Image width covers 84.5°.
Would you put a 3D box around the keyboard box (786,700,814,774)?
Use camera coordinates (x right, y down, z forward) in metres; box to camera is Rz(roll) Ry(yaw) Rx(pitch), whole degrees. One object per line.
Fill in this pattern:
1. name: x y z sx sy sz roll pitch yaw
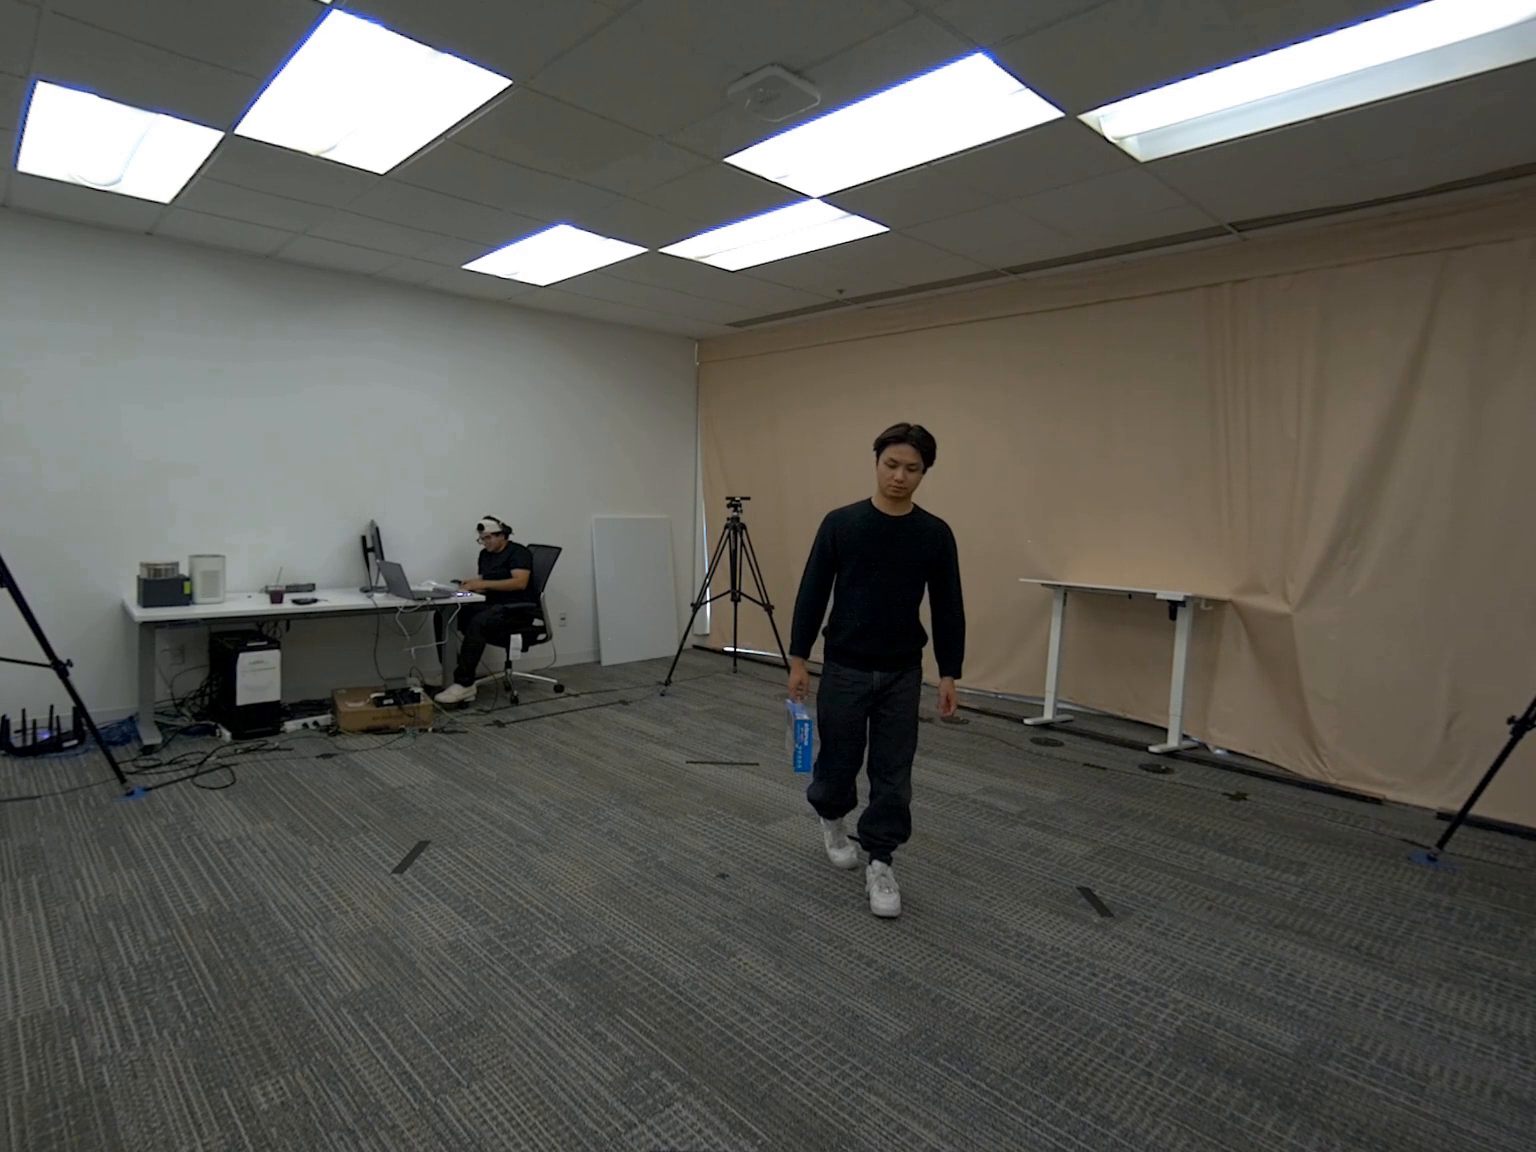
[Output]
1. keyboard box: 0.099 0.551 2.973 0.059 0.176 0.437 0 0 -4
